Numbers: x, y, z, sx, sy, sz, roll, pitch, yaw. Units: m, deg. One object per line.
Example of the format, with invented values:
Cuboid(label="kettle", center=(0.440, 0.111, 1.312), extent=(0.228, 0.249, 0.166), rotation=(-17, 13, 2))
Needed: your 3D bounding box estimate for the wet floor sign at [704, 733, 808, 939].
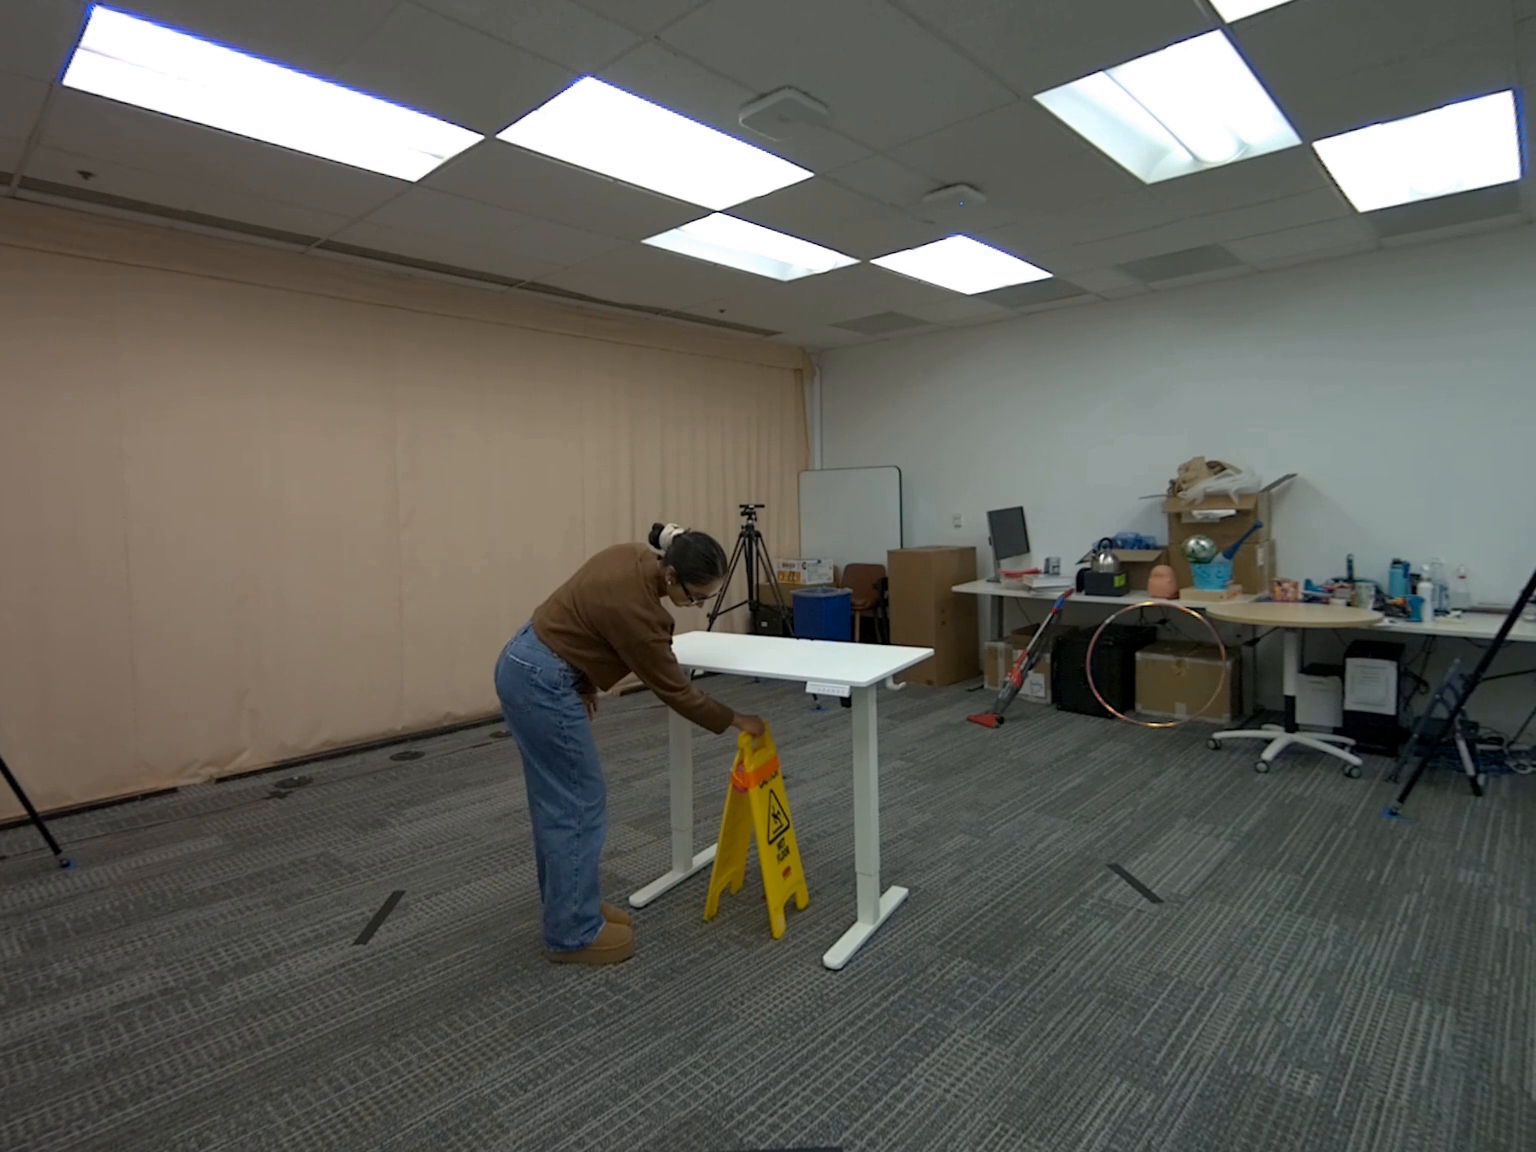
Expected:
Cuboid(label="wet floor sign", center=(-0.039, 0.823, 2.840), extent=(0.297, 0.643, 0.276), rotation=(2, 7, 27))
